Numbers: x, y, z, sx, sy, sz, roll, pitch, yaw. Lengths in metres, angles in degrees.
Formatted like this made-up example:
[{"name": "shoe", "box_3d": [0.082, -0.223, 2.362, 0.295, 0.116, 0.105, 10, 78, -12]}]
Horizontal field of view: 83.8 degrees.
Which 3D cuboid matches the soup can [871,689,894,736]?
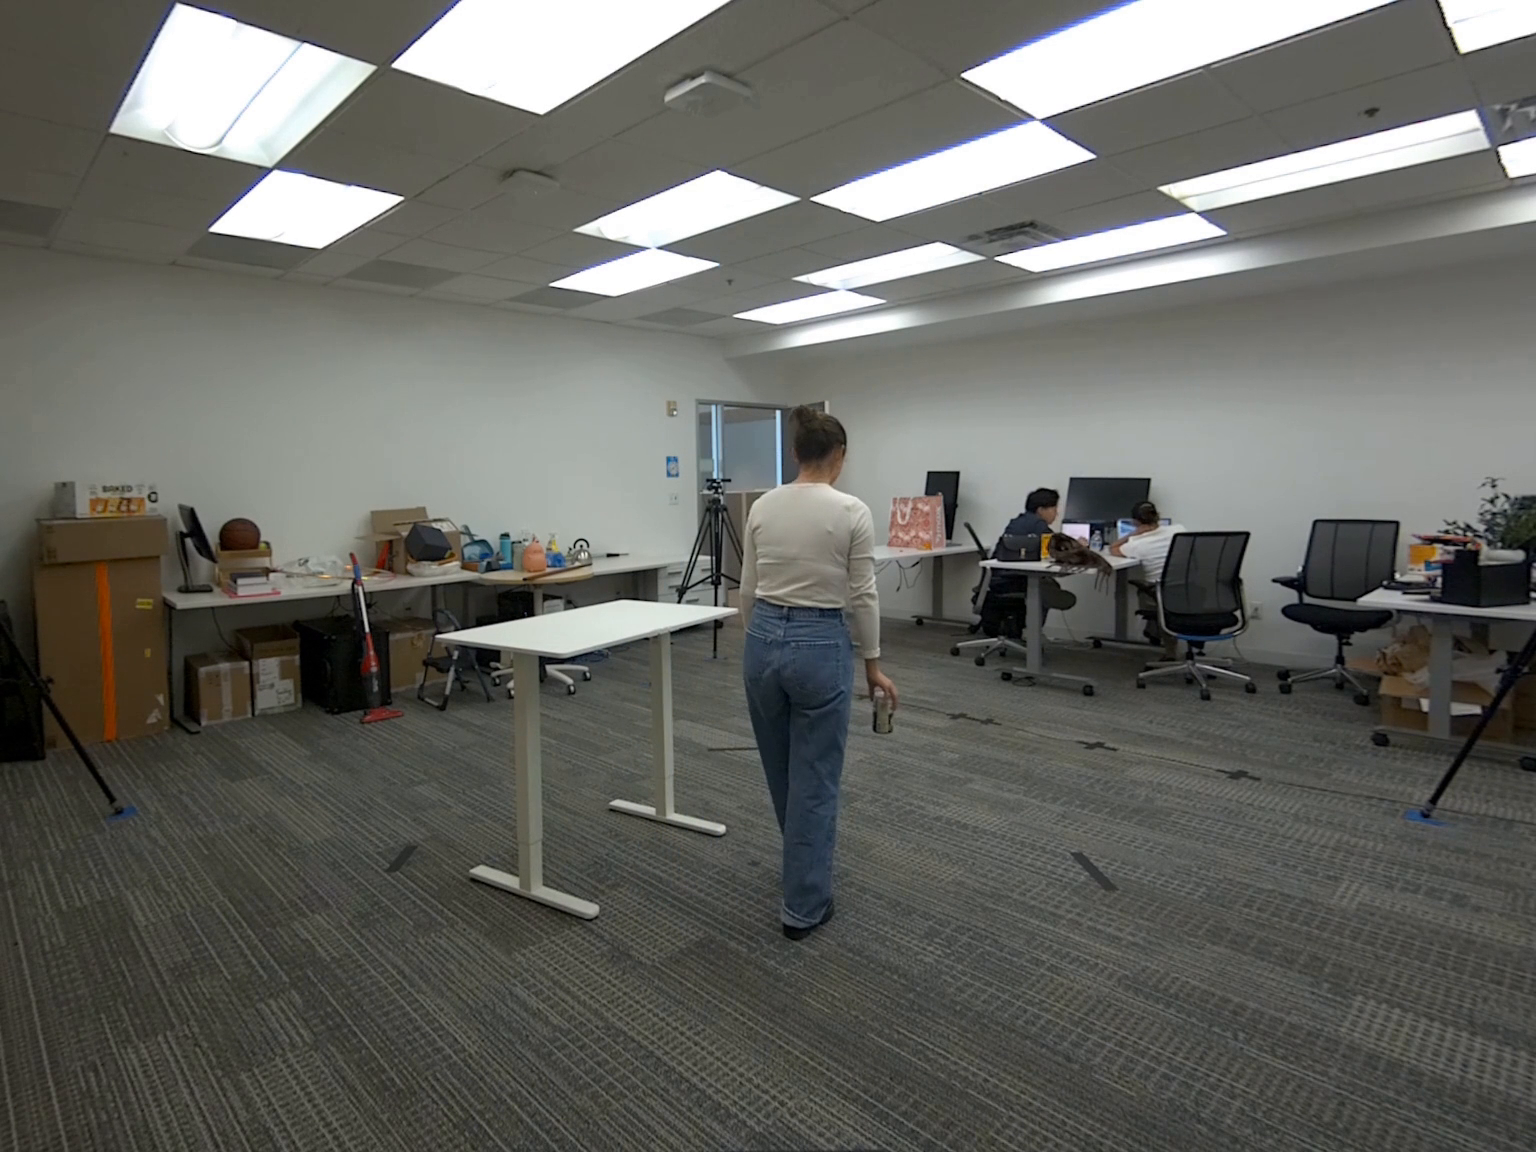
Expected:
[{"name": "soup can", "box_3d": [0.359, 0.439, 2.723, 0.067, 0.121, 0.067, 0, 2, -2]}]
